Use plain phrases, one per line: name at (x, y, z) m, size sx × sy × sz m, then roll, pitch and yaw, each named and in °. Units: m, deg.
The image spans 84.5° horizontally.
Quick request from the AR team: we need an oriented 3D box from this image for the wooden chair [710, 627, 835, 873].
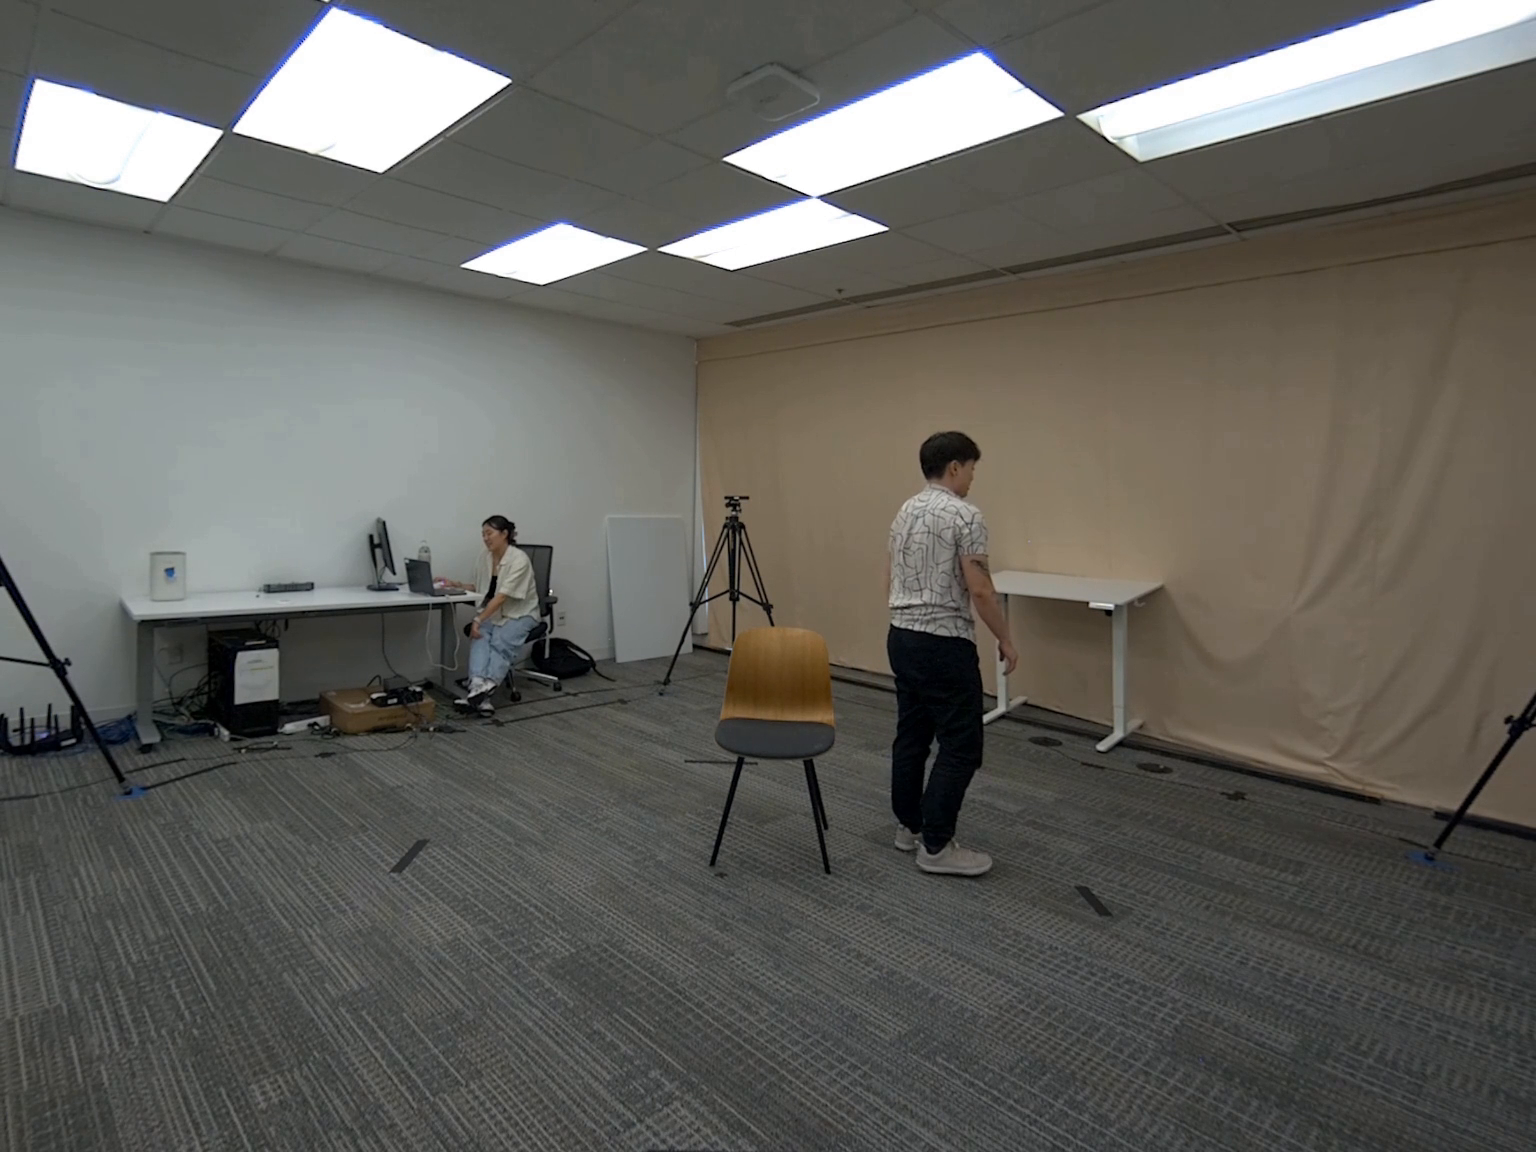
wooden chair at (0.026, 0.661, 3.336) m, size 0.480 × 0.878 × 0.520 m, roll 2°, pitch -1°, yaw 4°
